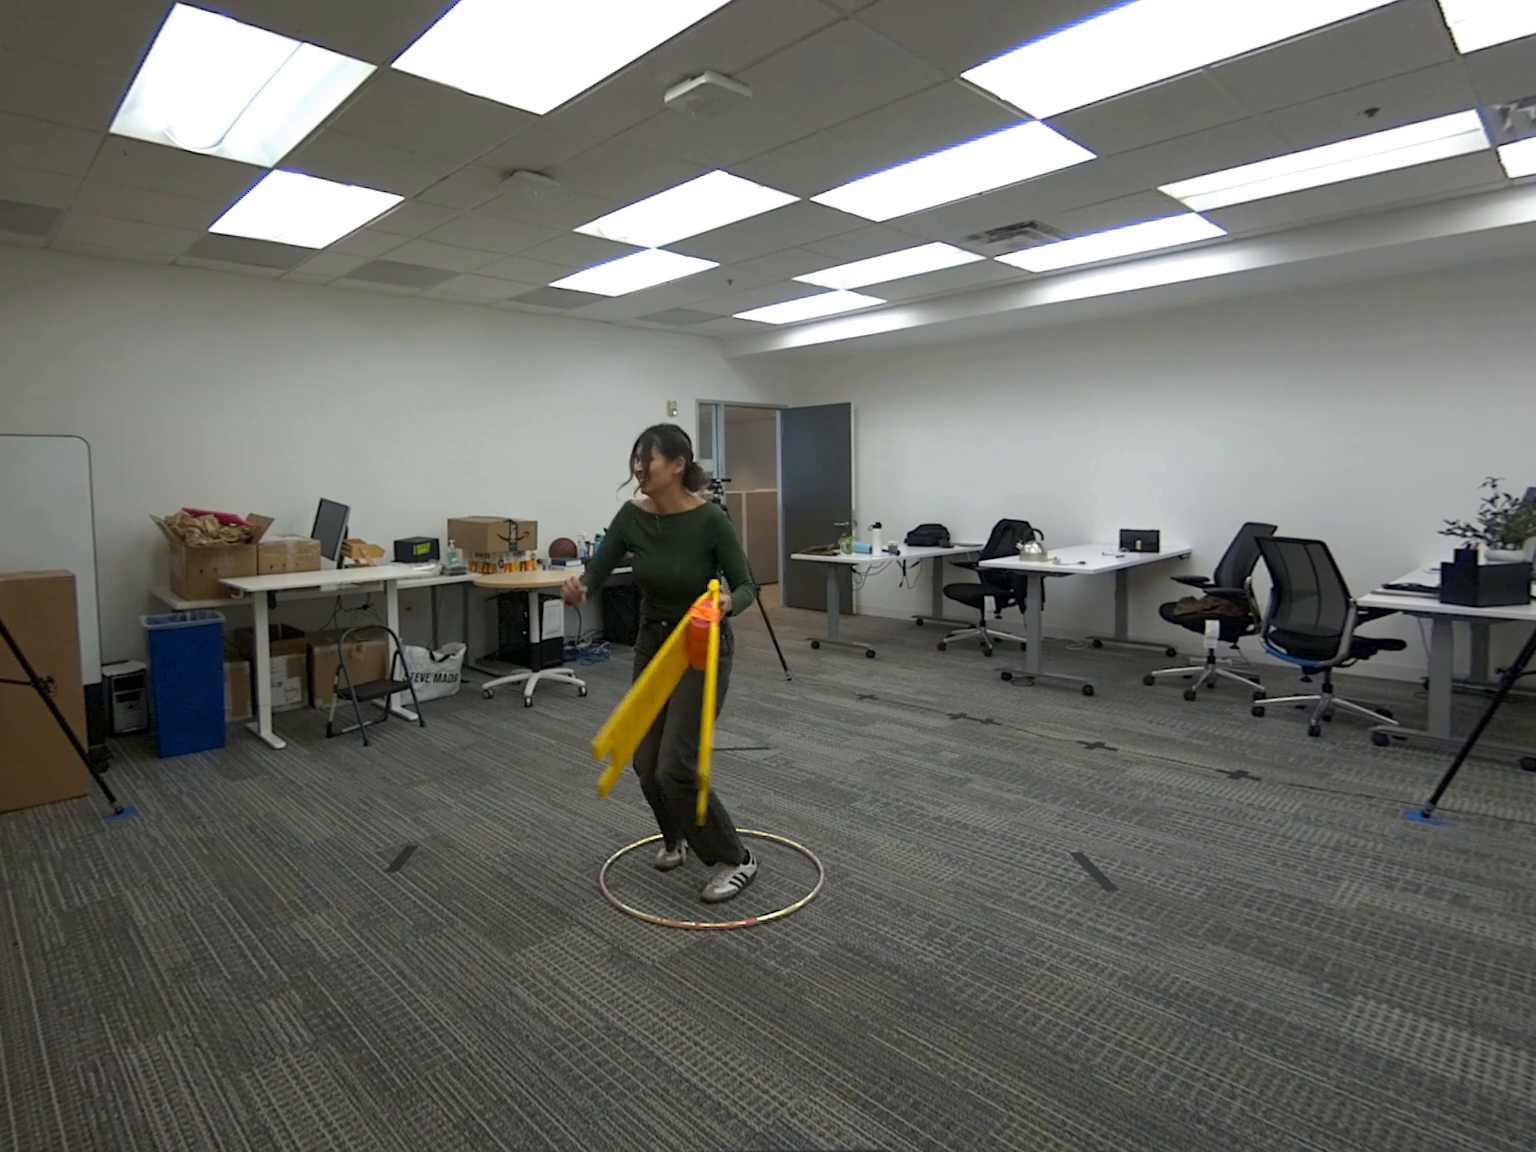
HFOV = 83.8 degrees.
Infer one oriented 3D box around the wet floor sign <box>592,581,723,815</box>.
[{"bbox_3d":[-0.229,0.263,2.449,0.292,0.275,0.657,10,49,7],"label":"wet floor sign"}]
